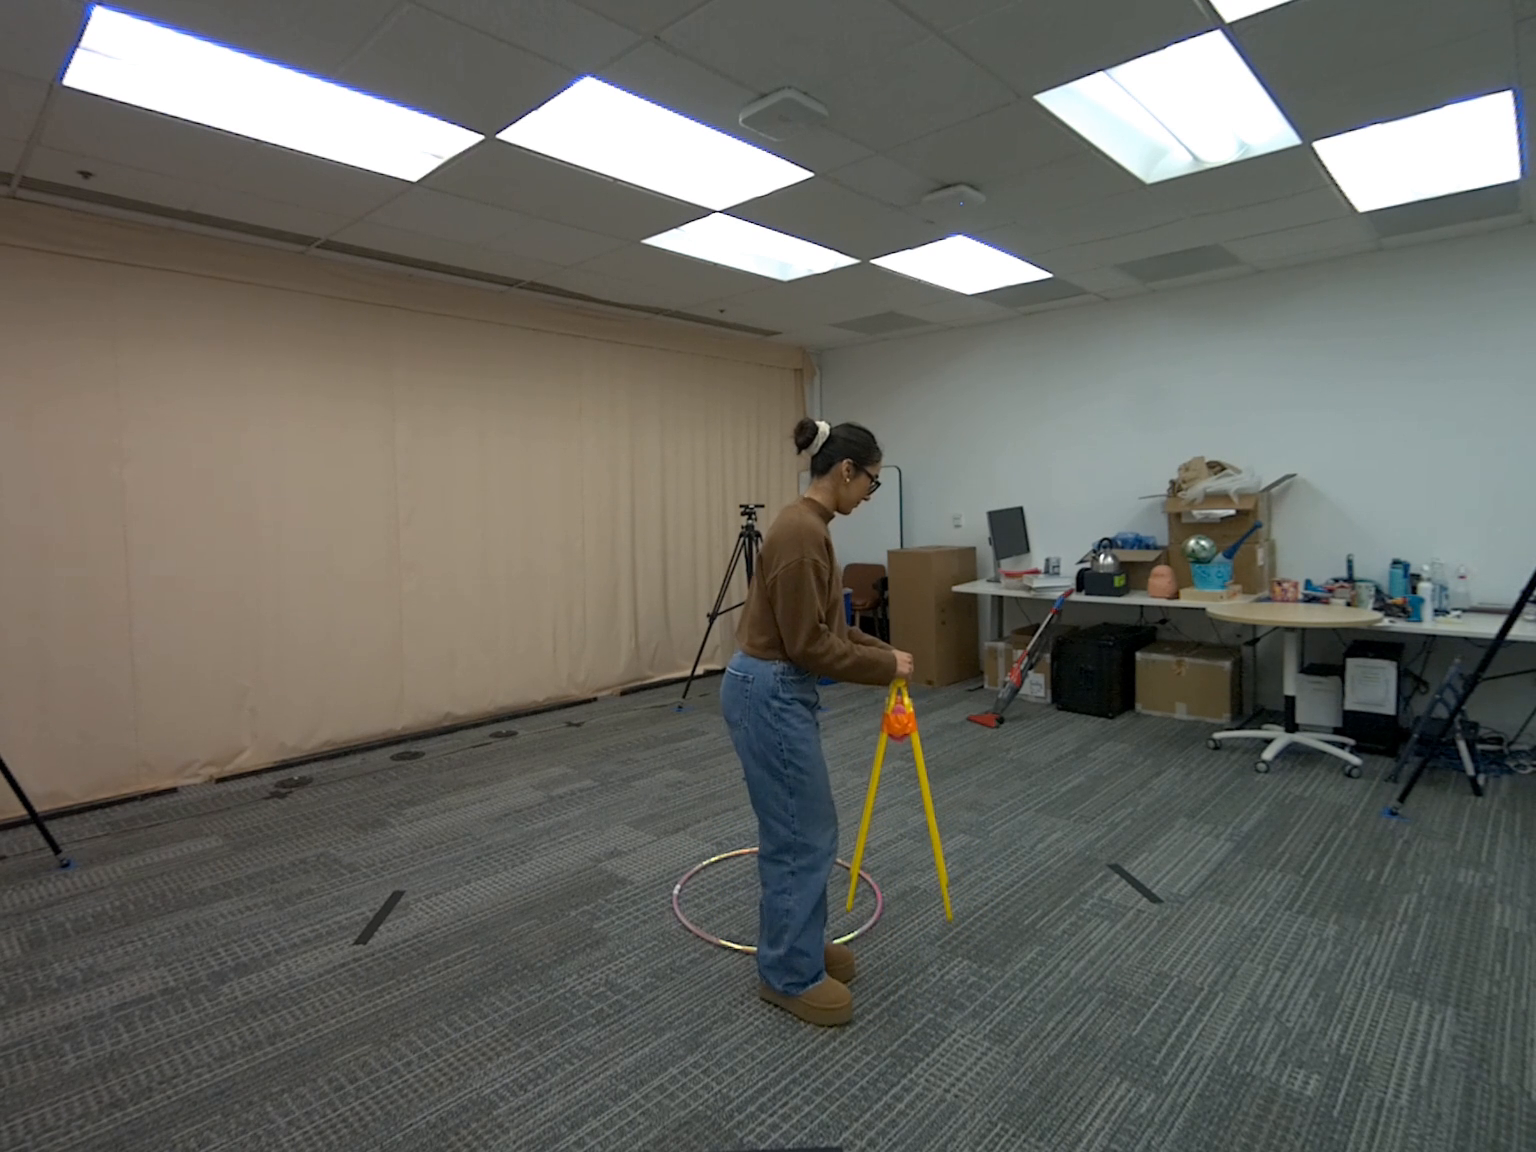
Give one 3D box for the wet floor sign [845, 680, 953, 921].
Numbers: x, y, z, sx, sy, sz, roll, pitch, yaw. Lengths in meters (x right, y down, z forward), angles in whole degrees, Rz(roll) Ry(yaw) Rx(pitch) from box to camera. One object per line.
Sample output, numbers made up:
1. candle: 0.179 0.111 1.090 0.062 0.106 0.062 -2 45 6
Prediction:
1. wet floor sign: 0.377 0.581 2.341 0.293 0.646 0.279 1 1 10
